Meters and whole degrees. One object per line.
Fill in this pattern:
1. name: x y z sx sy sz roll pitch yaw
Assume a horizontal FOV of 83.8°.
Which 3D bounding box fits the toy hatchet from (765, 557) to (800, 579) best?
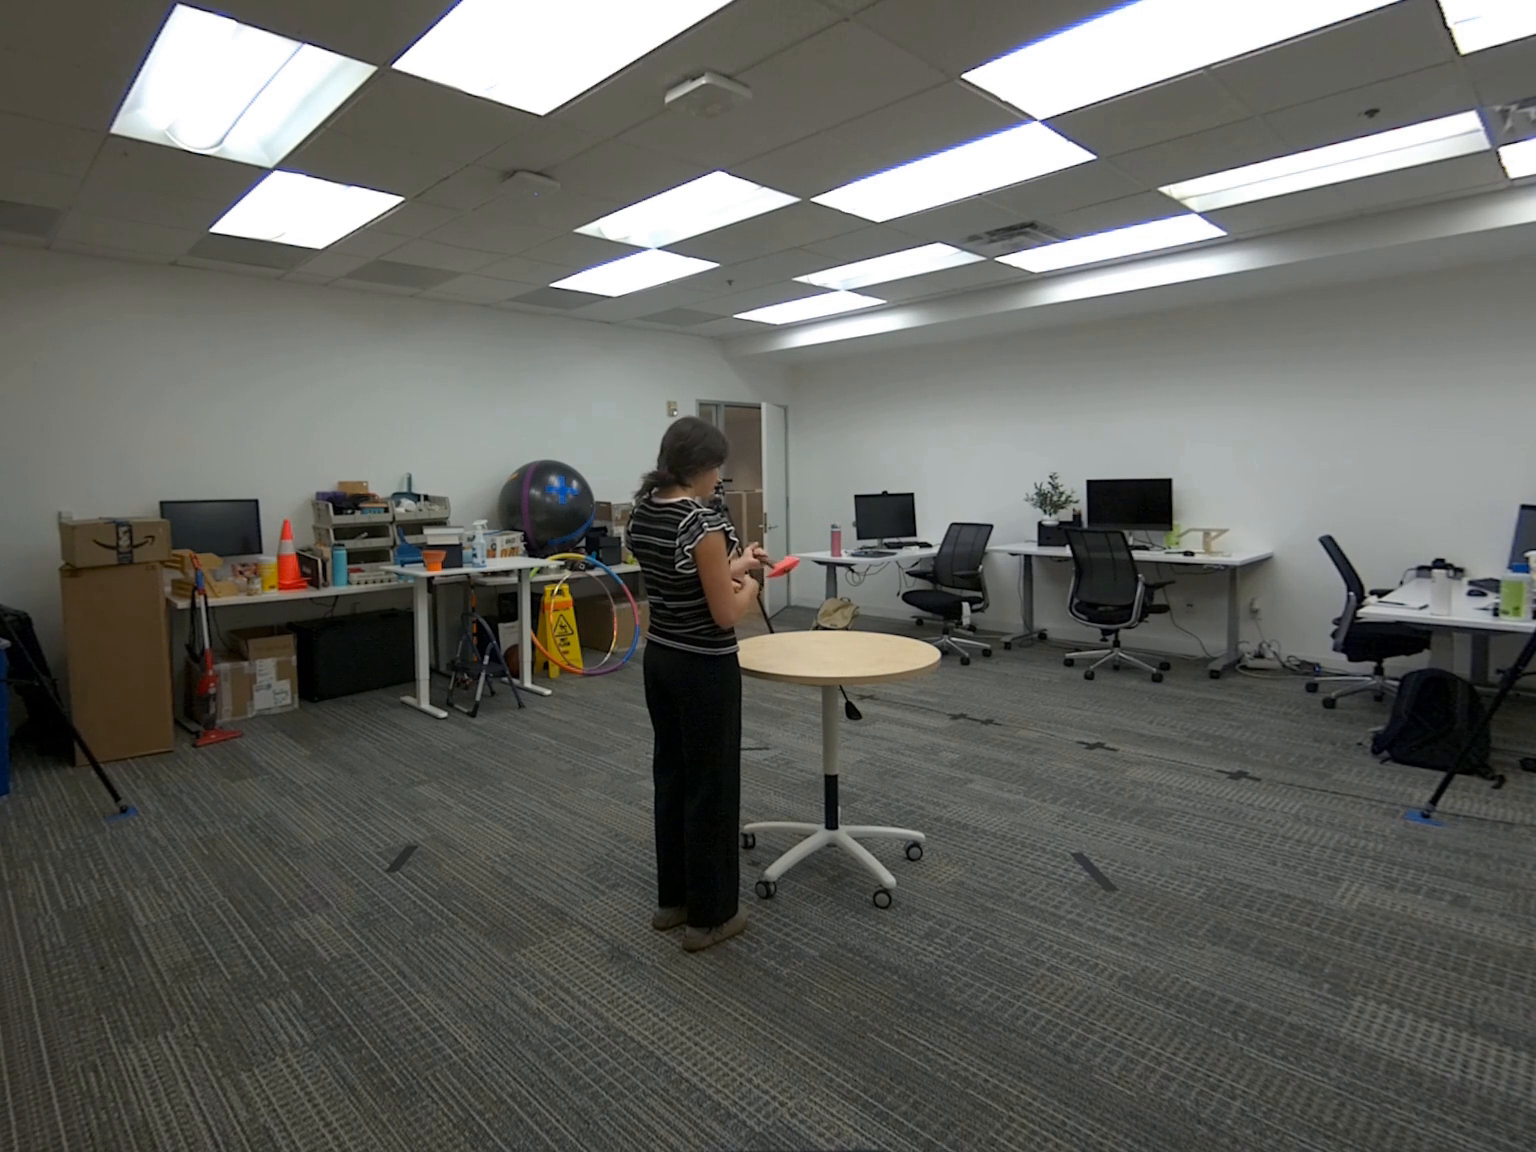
1. toy hatchet: 0.007 -0.059 2.863 0.131 0.029 0.277 -19 26 0
